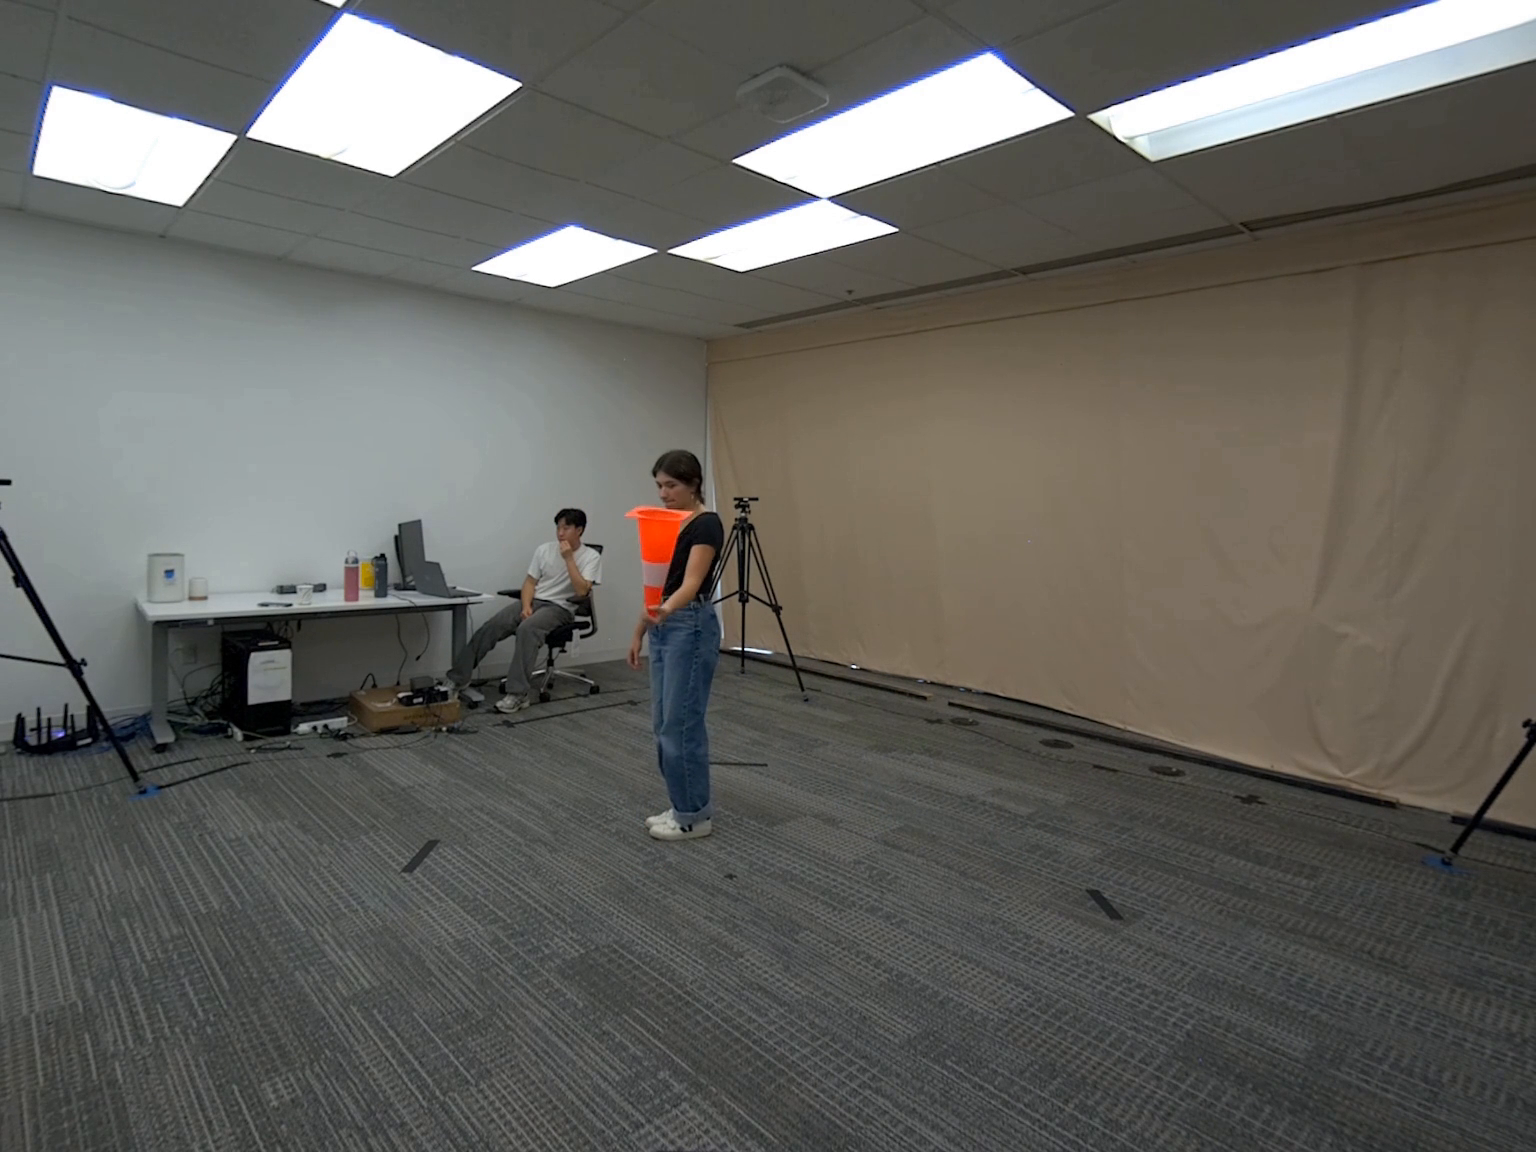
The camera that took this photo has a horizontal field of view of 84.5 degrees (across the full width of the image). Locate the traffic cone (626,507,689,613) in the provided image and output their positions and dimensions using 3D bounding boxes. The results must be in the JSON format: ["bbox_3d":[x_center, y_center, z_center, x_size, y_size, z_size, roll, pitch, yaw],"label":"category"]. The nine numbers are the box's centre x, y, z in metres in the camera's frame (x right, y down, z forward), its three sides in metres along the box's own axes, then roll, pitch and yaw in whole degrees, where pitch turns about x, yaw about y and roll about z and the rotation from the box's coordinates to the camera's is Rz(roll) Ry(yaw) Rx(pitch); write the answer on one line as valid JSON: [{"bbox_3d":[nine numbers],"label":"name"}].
[{"bbox_3d":[-0.419,-0.036,2.958,0.207,0.380,0.203,9,13,8],"label":"traffic cone"}]
